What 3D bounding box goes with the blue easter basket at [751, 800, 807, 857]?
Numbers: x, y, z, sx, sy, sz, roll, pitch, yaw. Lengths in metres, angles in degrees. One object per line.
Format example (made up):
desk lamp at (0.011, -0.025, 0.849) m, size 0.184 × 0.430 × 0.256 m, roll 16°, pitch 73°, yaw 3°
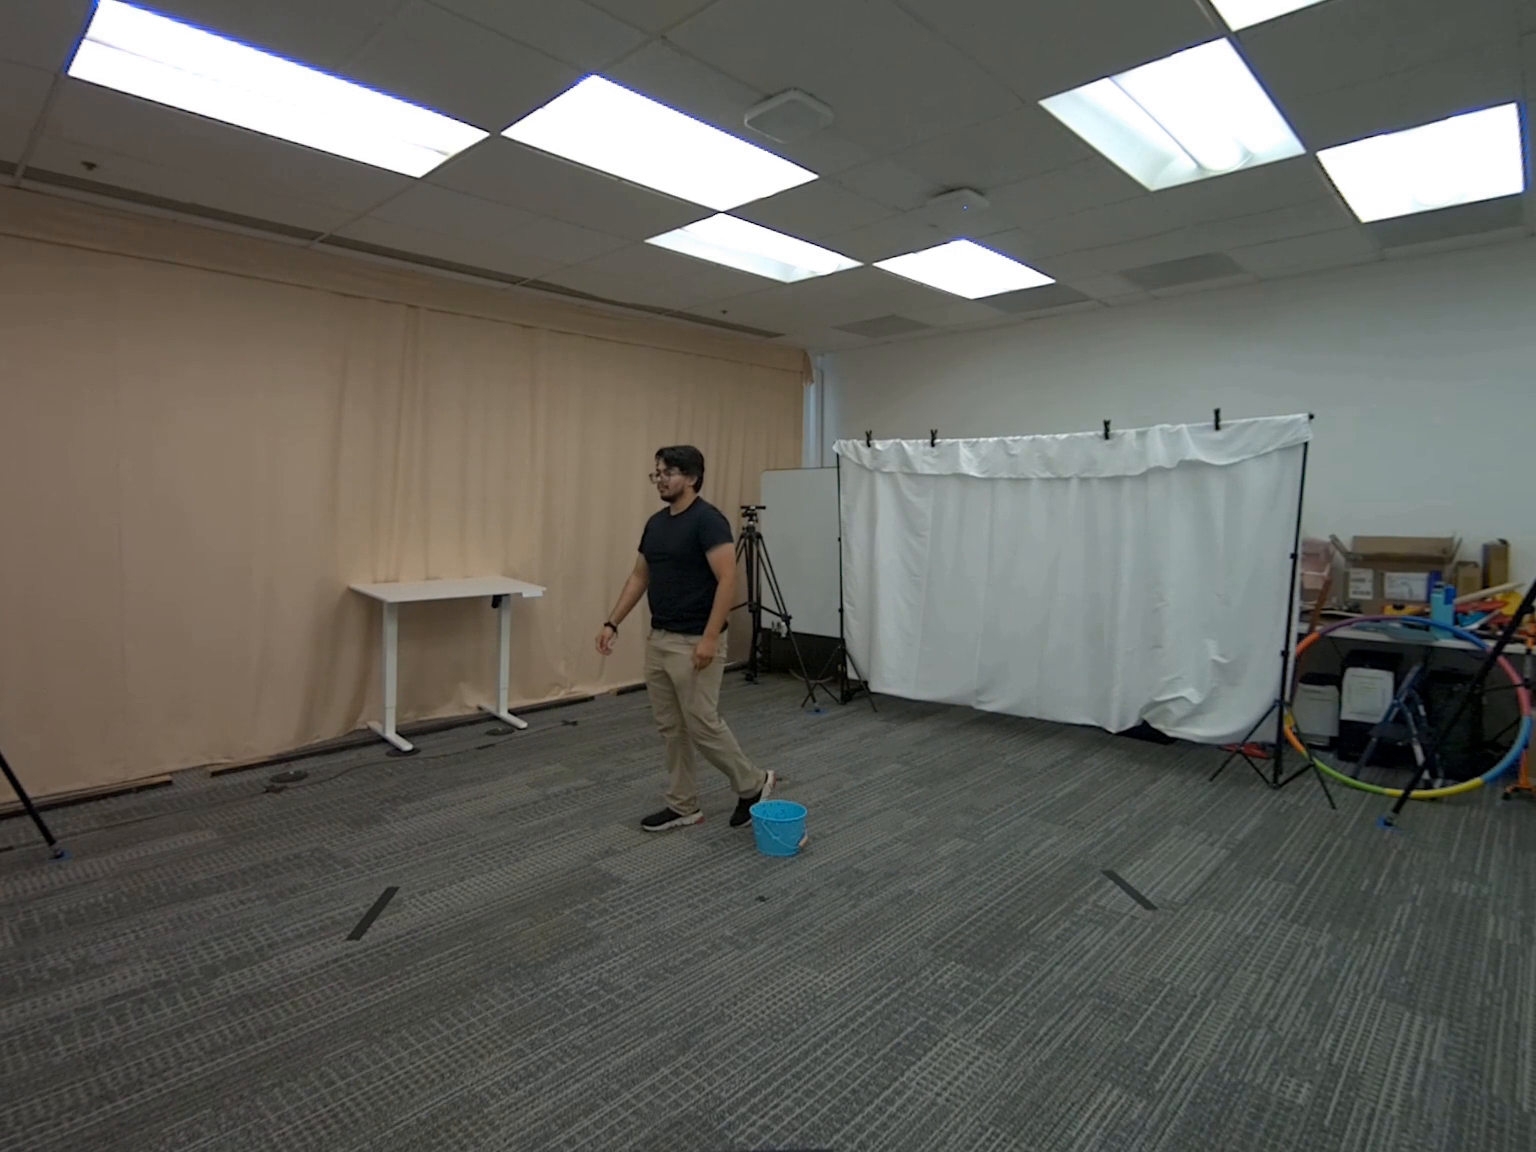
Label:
blue easter basket at (0.045, 1.027, 3.428) m, size 0.243 × 0.155 × 0.244 m, roll -1°, pitch 3°, yaw -2°
